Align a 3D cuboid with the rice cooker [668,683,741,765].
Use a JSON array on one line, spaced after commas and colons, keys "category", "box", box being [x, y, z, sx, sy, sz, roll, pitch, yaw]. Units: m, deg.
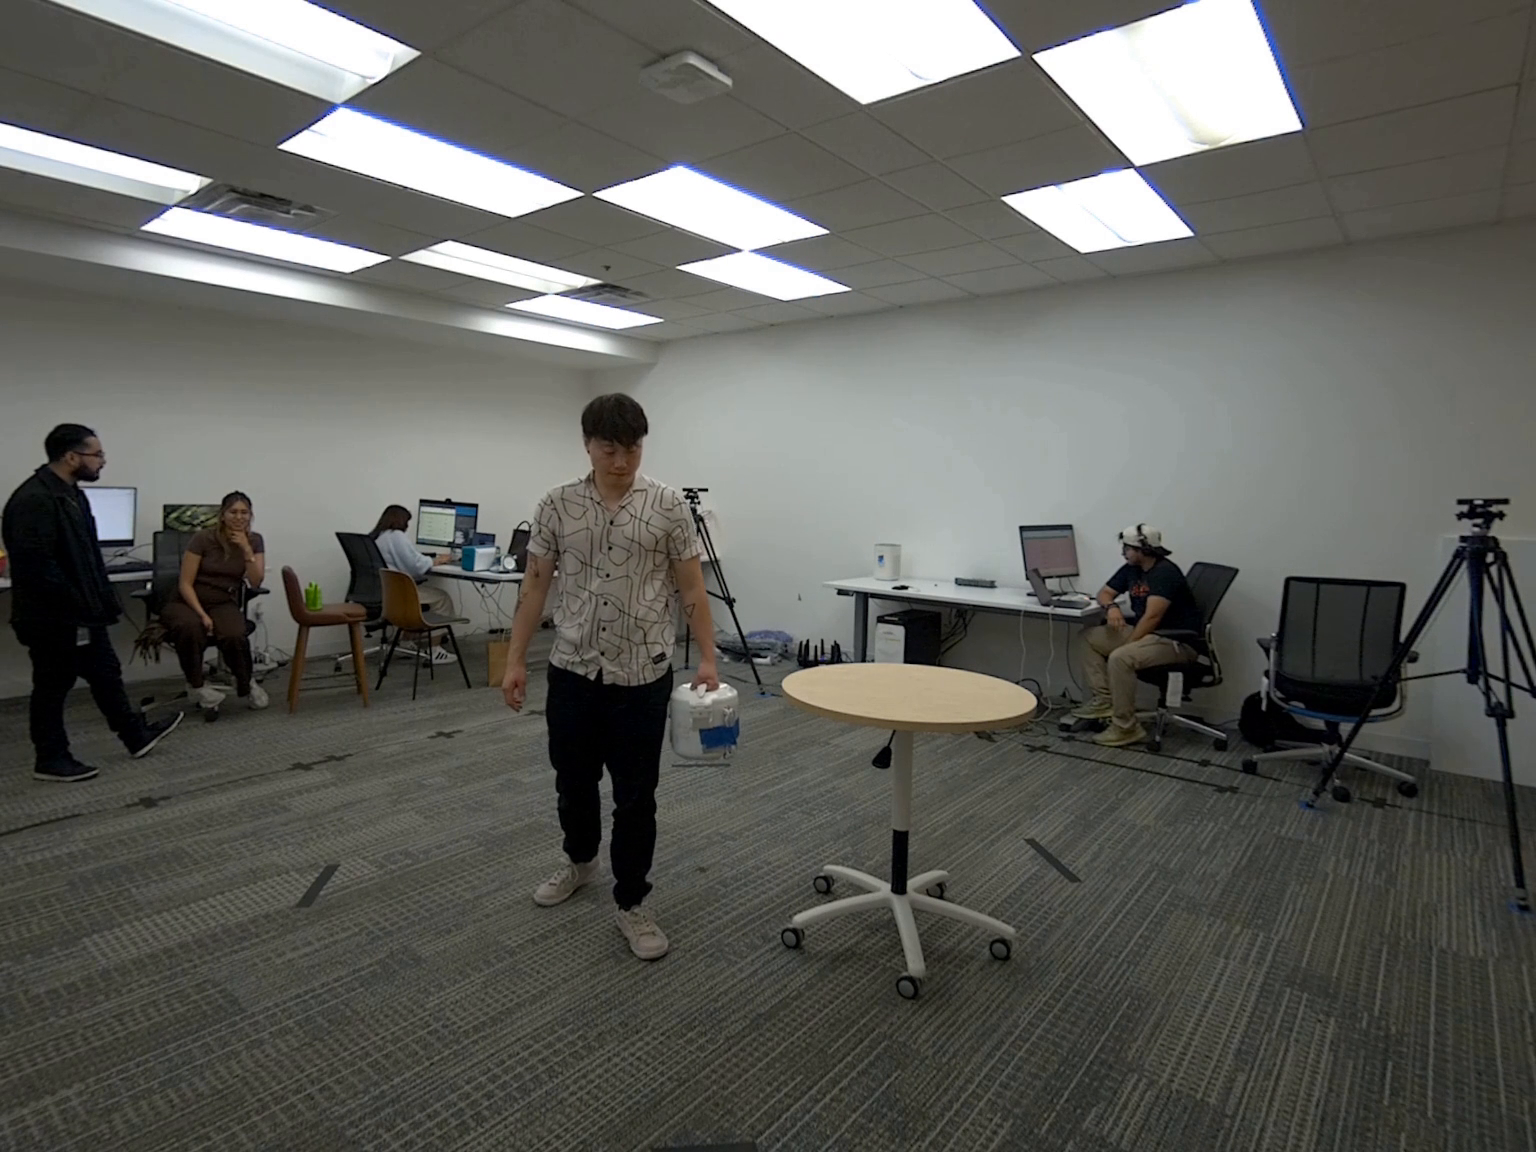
[{"category": "rice cooker", "box": [-0.212, 0.432, 2.611, 0.218, 0.232, 0.221, -1, 6, 4]}]
